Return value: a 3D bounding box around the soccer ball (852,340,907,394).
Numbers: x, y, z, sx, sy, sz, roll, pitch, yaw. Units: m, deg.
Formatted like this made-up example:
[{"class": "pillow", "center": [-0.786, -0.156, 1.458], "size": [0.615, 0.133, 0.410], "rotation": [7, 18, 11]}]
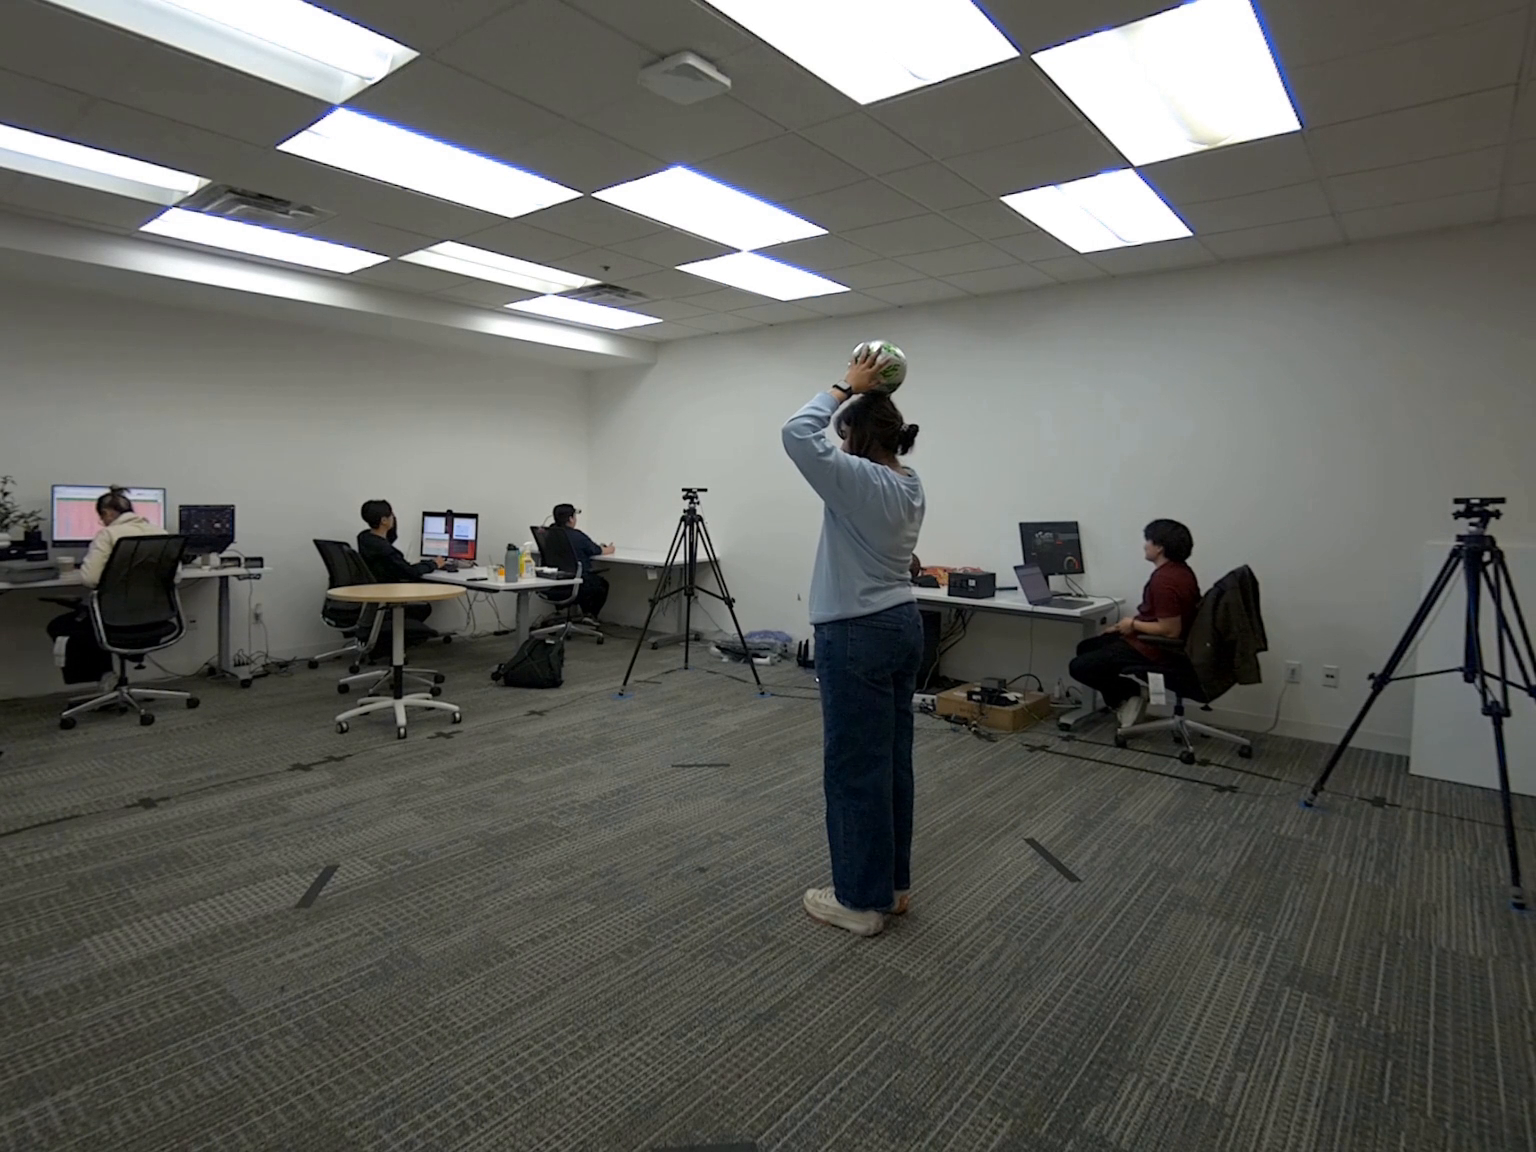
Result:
[{"class": "soccer ball", "center": [0.347, -0.672, 2.757], "size": [0.187, 0.187, 0.188], "rotation": [1, 4, -2]}]
